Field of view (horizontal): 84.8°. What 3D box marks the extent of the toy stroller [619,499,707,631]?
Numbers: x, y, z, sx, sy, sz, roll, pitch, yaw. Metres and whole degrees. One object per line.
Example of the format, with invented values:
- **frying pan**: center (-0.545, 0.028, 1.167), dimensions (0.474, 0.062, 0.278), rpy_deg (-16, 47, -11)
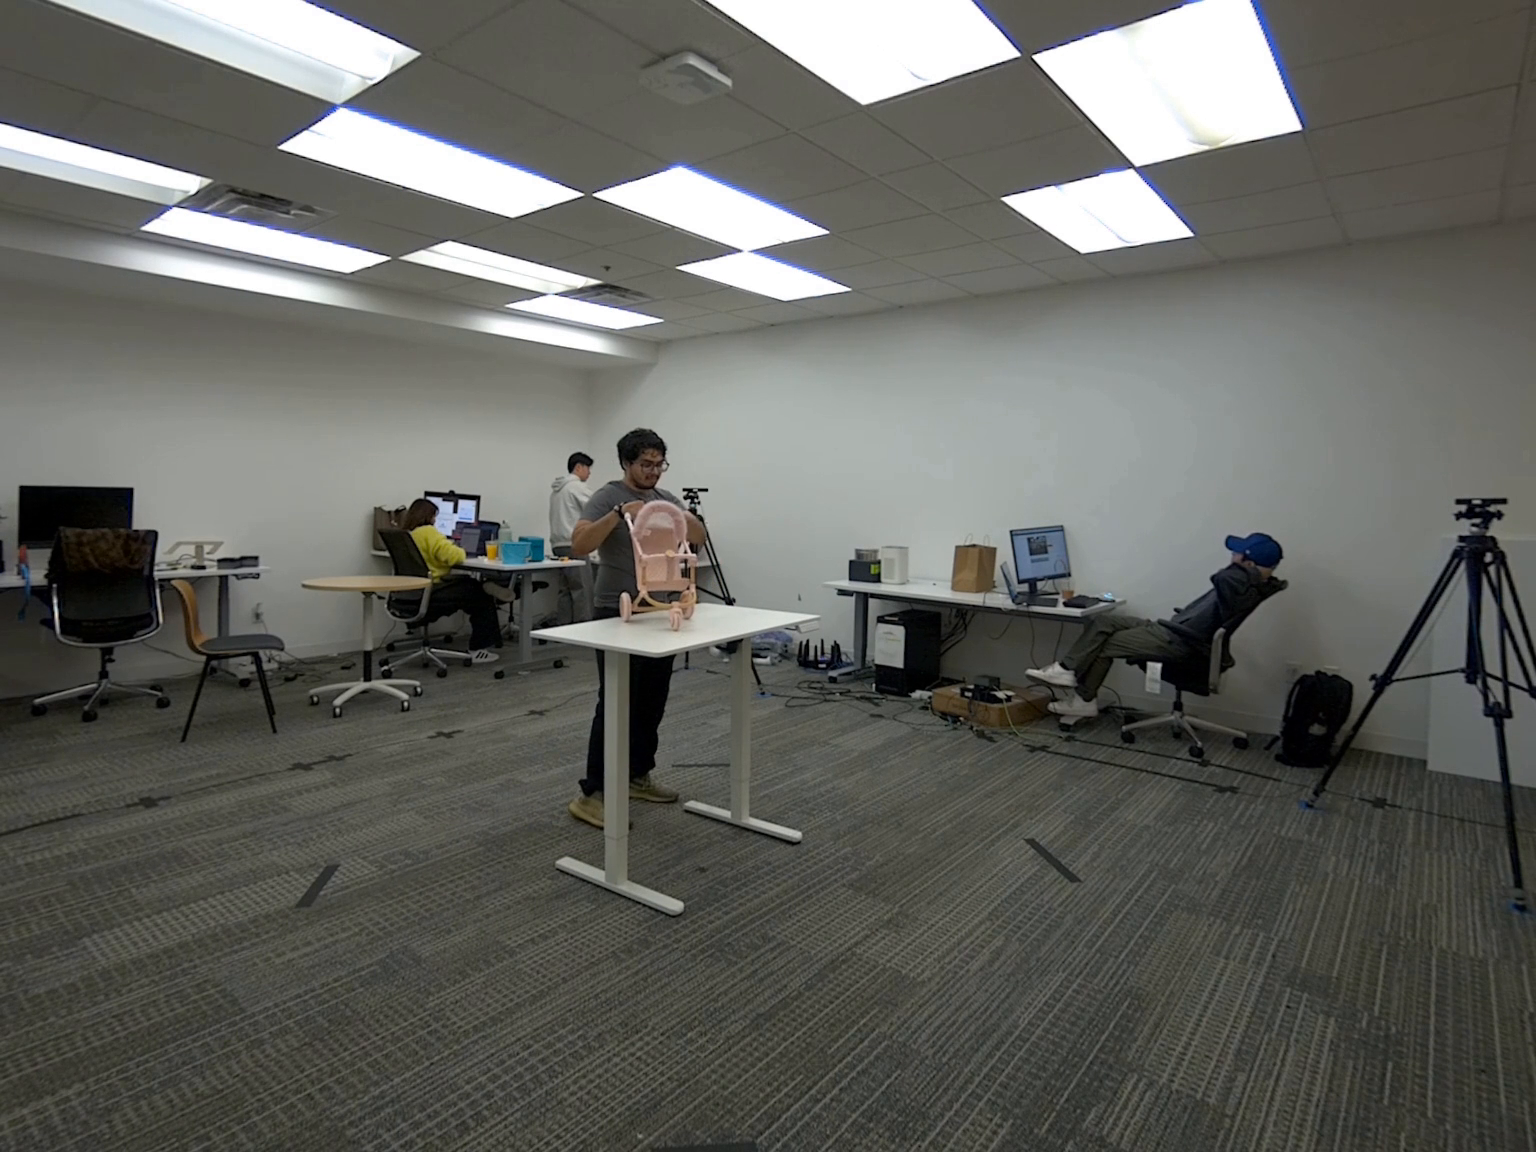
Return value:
- **toy stroller**: center (-0.413, -0.048, 3.205), dimensions (0.276, 0.541, 0.344), rpy_deg (-2, -11, -19)
